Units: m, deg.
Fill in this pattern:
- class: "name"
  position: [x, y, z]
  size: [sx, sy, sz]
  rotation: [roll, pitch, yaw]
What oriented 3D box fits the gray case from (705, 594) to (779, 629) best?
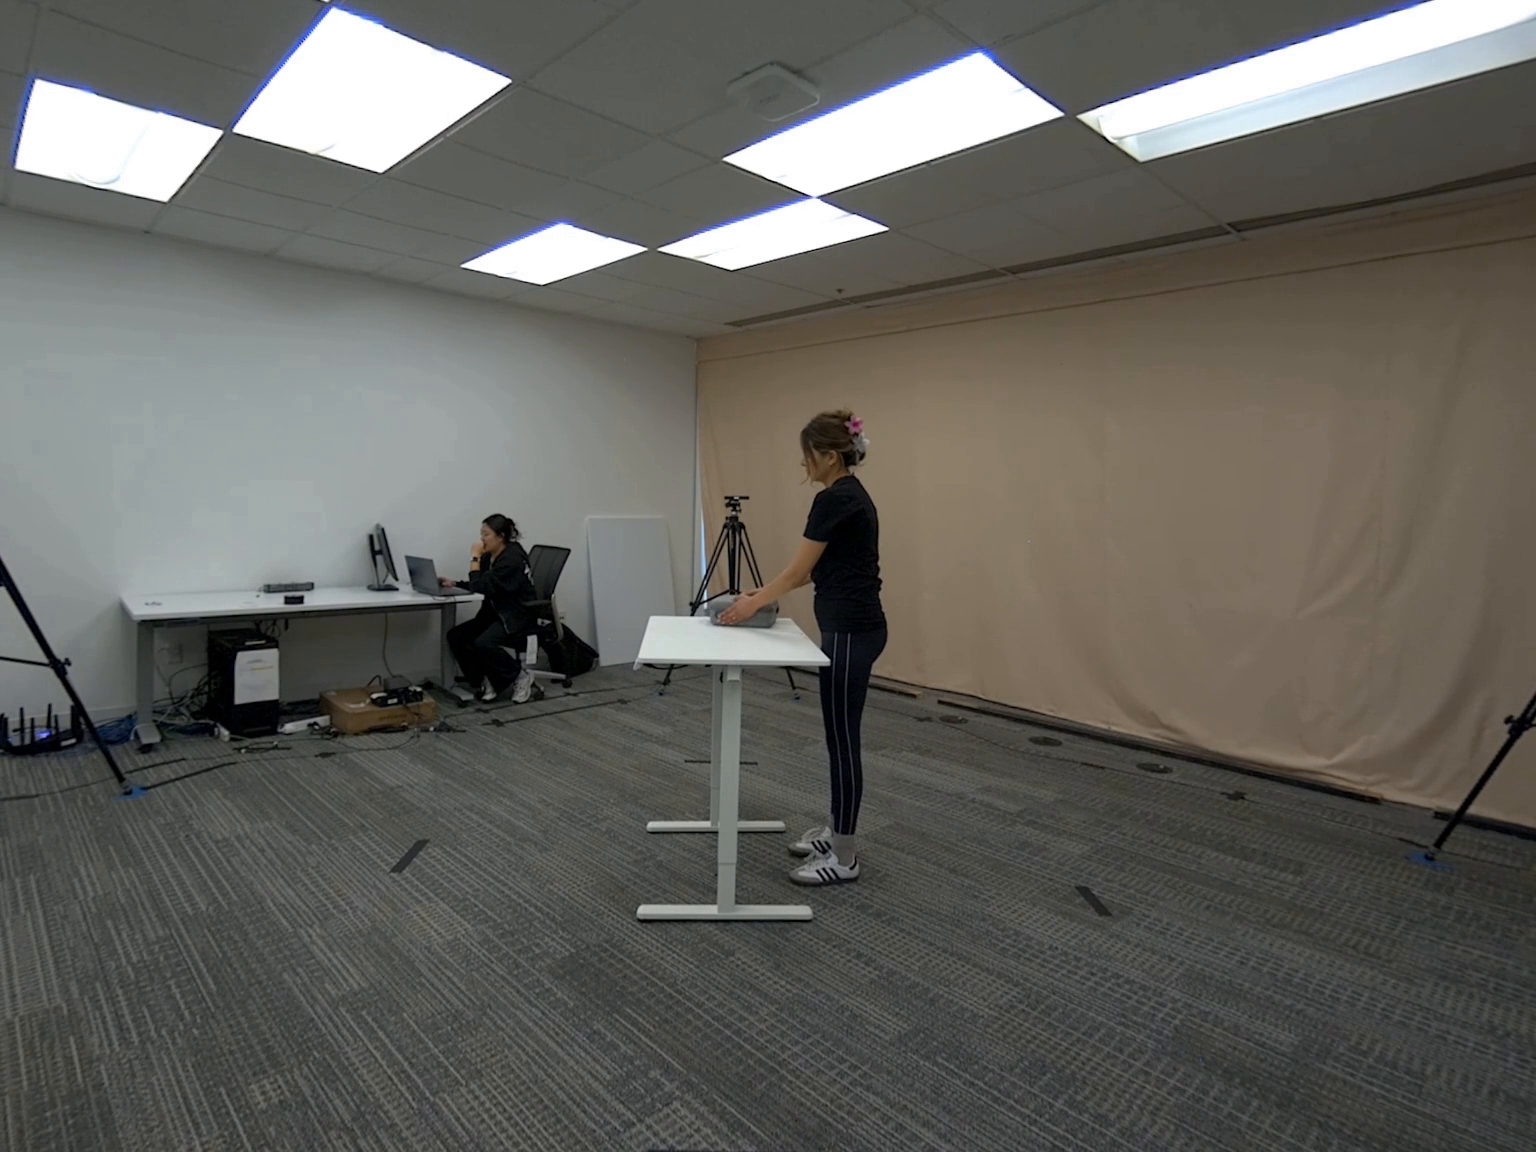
- class: "gray case"
  position: [-0.107, 0.145, 3.445]
  size: [0.262, 0.104, 0.256]
  rotation: [3, 5, 5]
